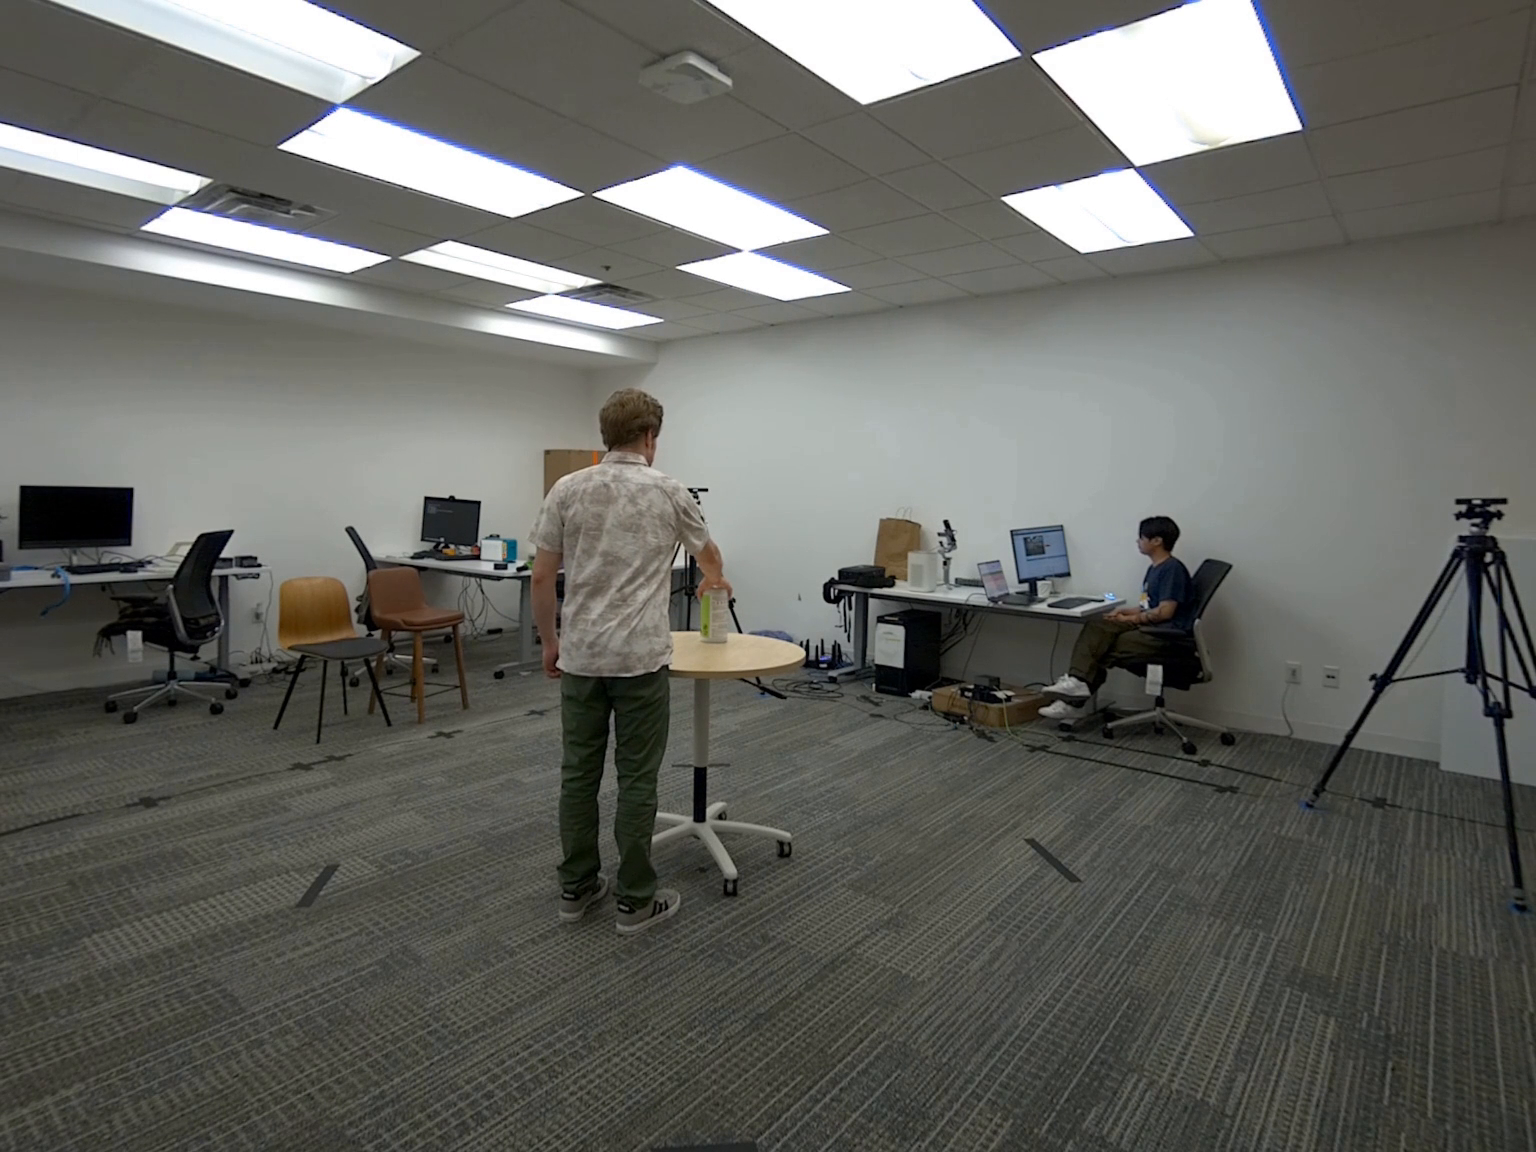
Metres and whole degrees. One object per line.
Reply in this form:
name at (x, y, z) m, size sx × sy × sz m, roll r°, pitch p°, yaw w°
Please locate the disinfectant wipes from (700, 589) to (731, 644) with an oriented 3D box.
disinfectant wipes at (-0.215, 0.144, 3.341) m, size 0.117 × 0.216 × 0.118 m, roll 1°, pitch 5°, yaw -2°
